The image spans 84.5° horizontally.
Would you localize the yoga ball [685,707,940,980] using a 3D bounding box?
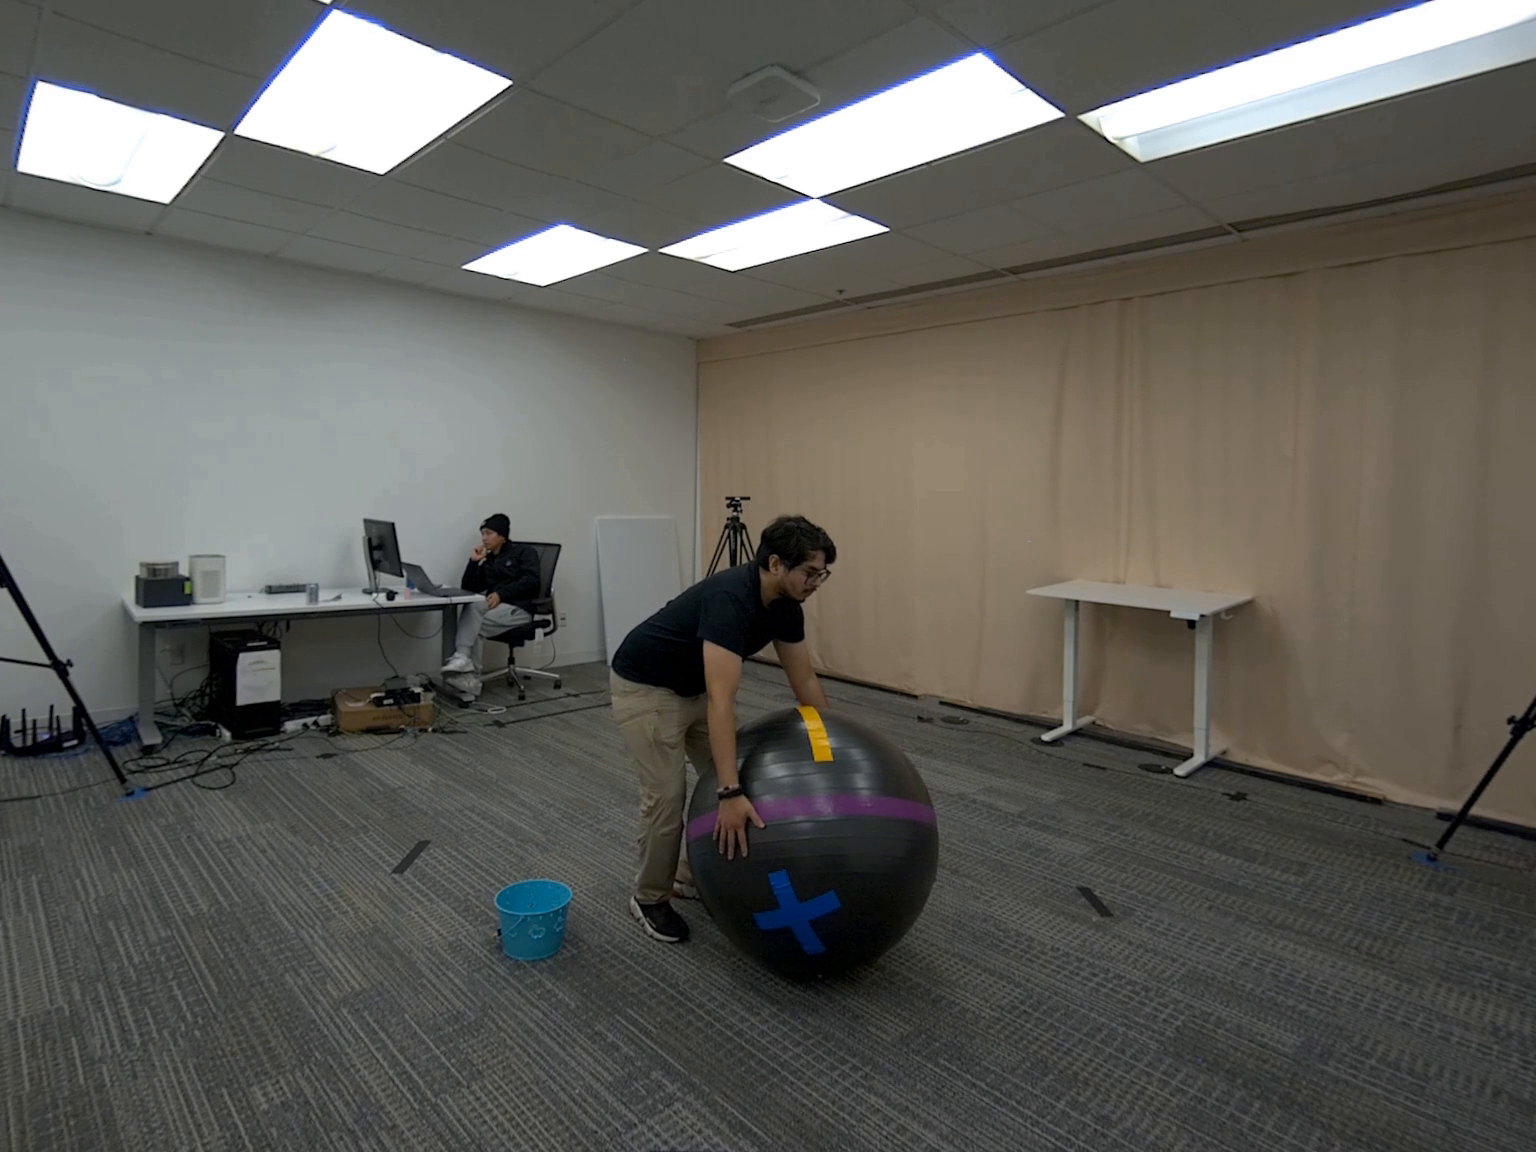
[{"bbox_3d":[0.130,0.793,2.542,0.757,0.756,0.761,1,4,-1],"label":"yoga ball"}]
